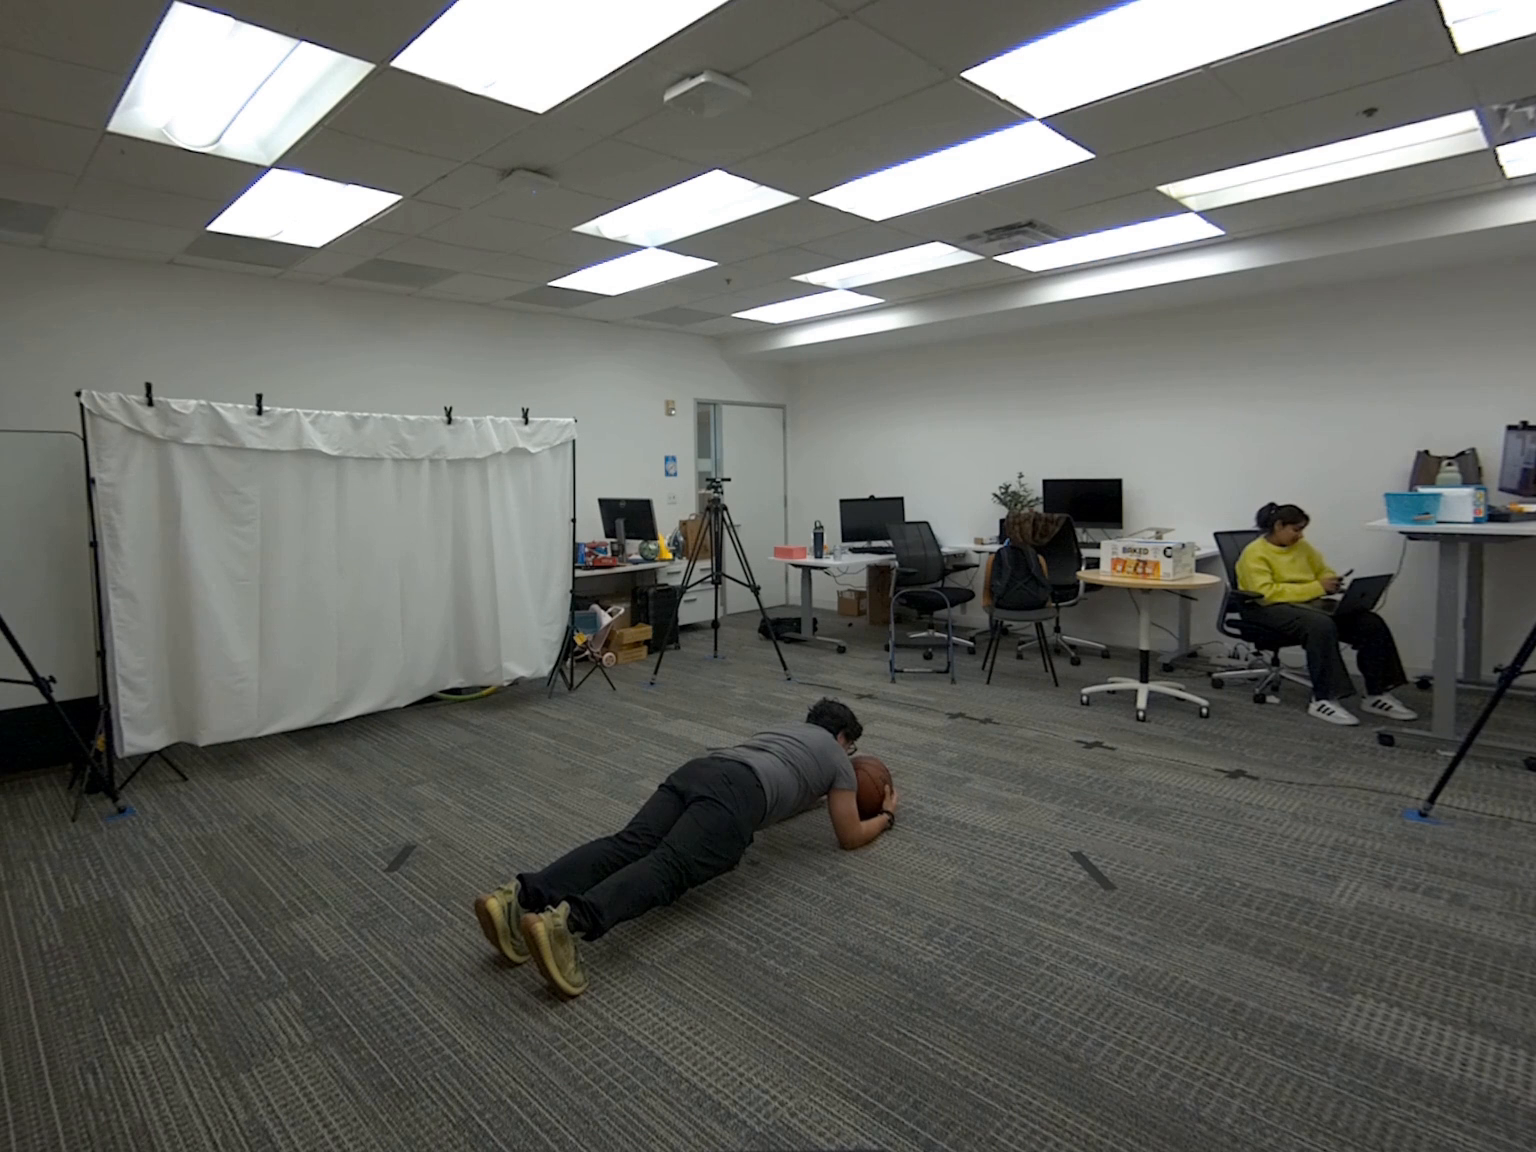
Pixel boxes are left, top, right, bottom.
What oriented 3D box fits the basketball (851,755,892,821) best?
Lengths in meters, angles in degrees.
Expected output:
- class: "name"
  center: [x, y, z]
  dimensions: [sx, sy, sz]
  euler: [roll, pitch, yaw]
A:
- class: "basketball"
  center: [0.391, 0.865, 3.540]
  dimensions: [0.236, 0.235, 0.237]
  euler: [-1, 5, -2]
